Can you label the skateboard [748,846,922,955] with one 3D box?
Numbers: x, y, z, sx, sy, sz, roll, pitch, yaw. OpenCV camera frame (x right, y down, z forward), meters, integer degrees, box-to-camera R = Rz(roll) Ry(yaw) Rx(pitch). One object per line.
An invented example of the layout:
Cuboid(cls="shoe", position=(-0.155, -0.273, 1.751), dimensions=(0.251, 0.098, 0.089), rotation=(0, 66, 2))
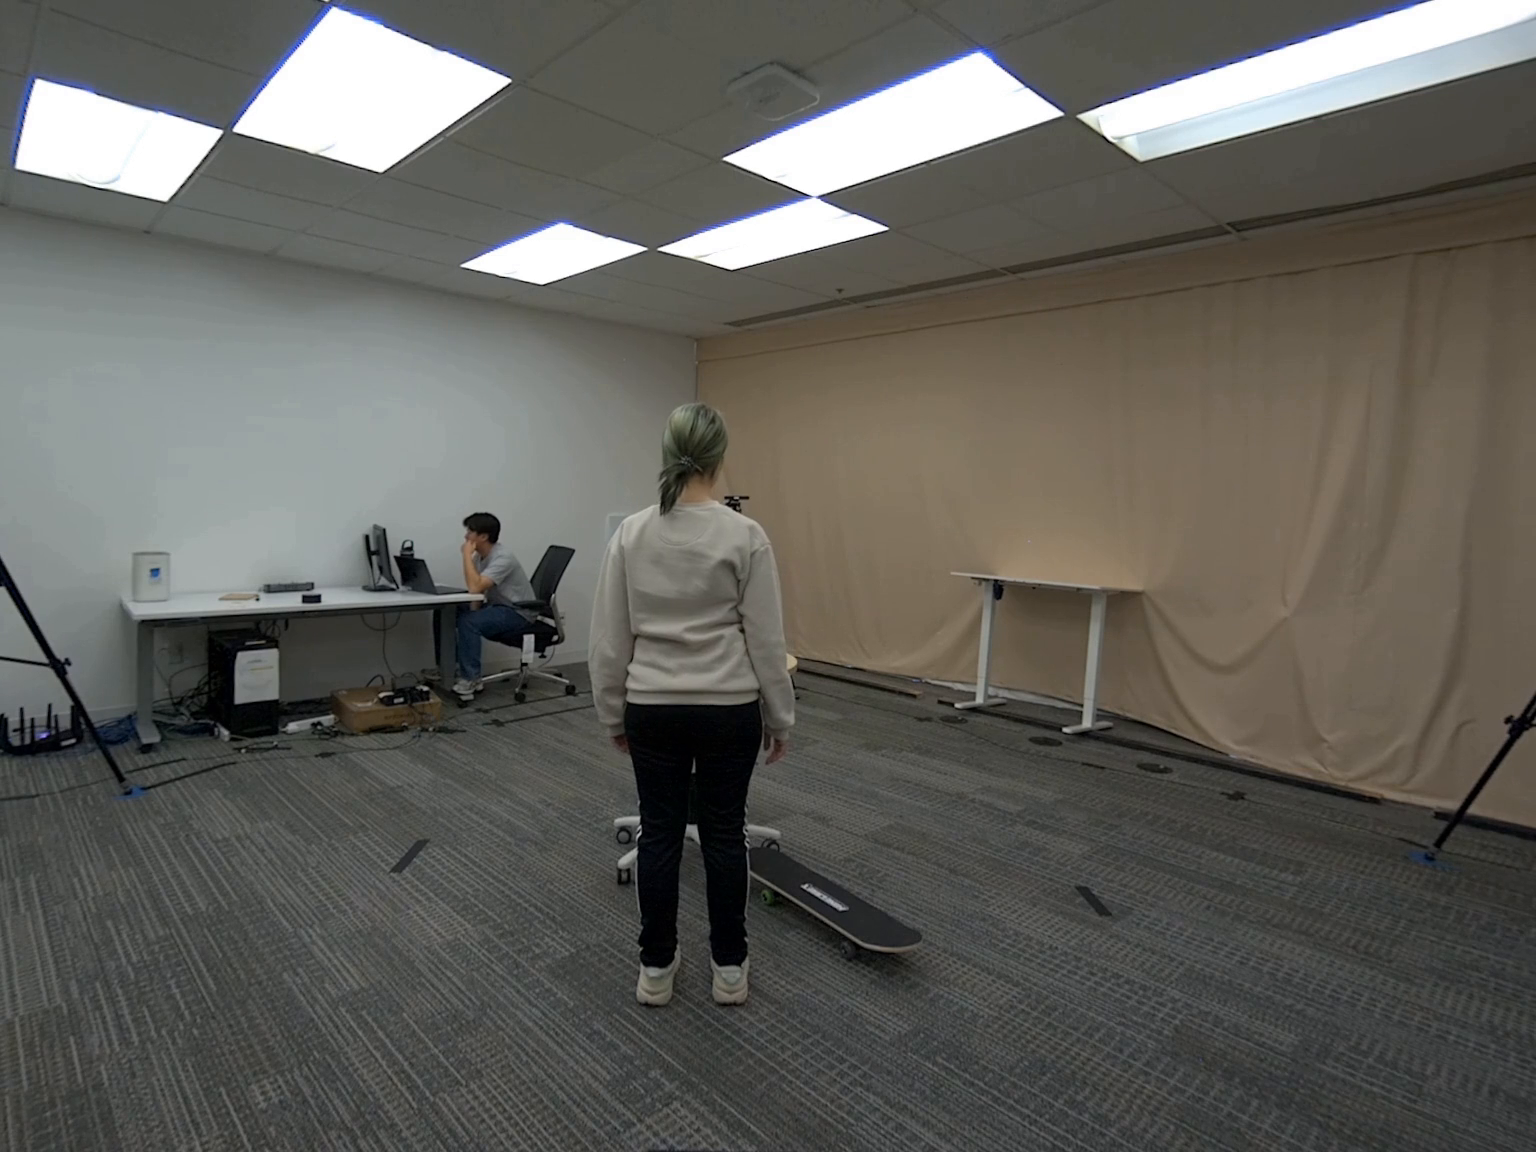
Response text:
Cuboid(cls="skateboard", position=(0.170, 1.086, 2.765), dimensions=(0.189, 0.110, 0.805), rotation=(-2, 7, -37))
